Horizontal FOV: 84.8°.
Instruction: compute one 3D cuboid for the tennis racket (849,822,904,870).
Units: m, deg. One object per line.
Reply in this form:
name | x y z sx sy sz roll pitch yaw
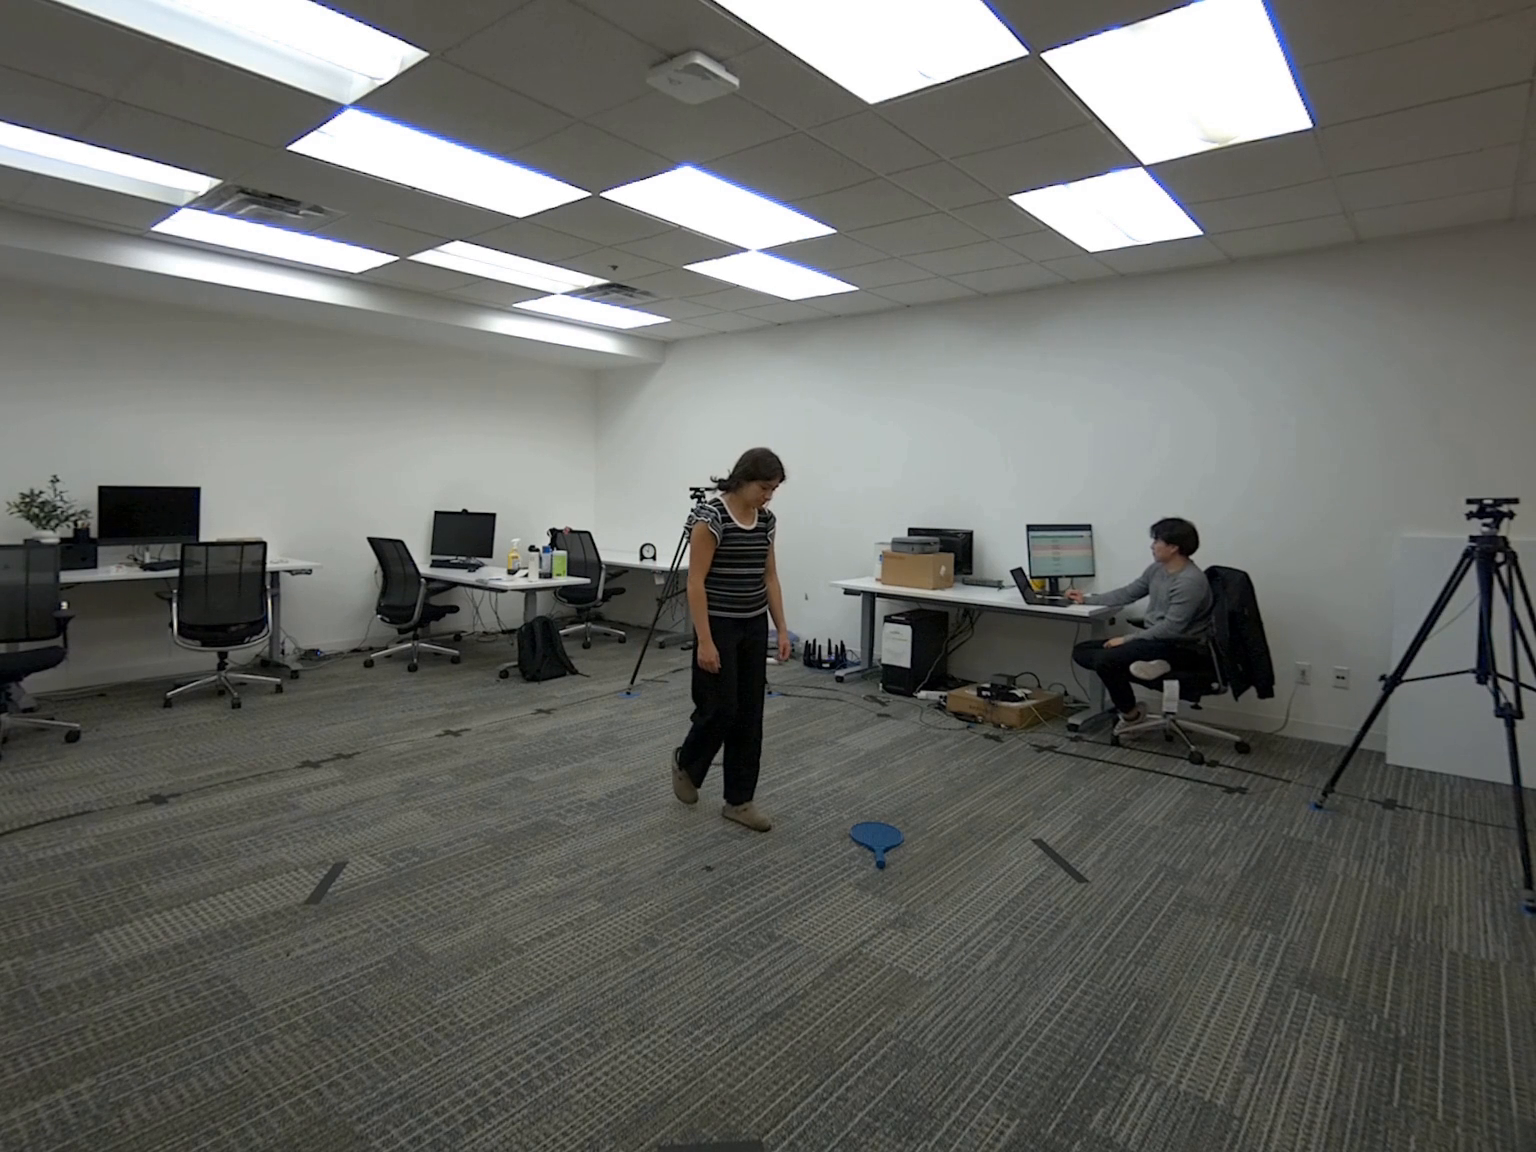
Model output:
tennis racket | 0.423 1.045 3.352 0.215 0.031 0.432 1 5 2
